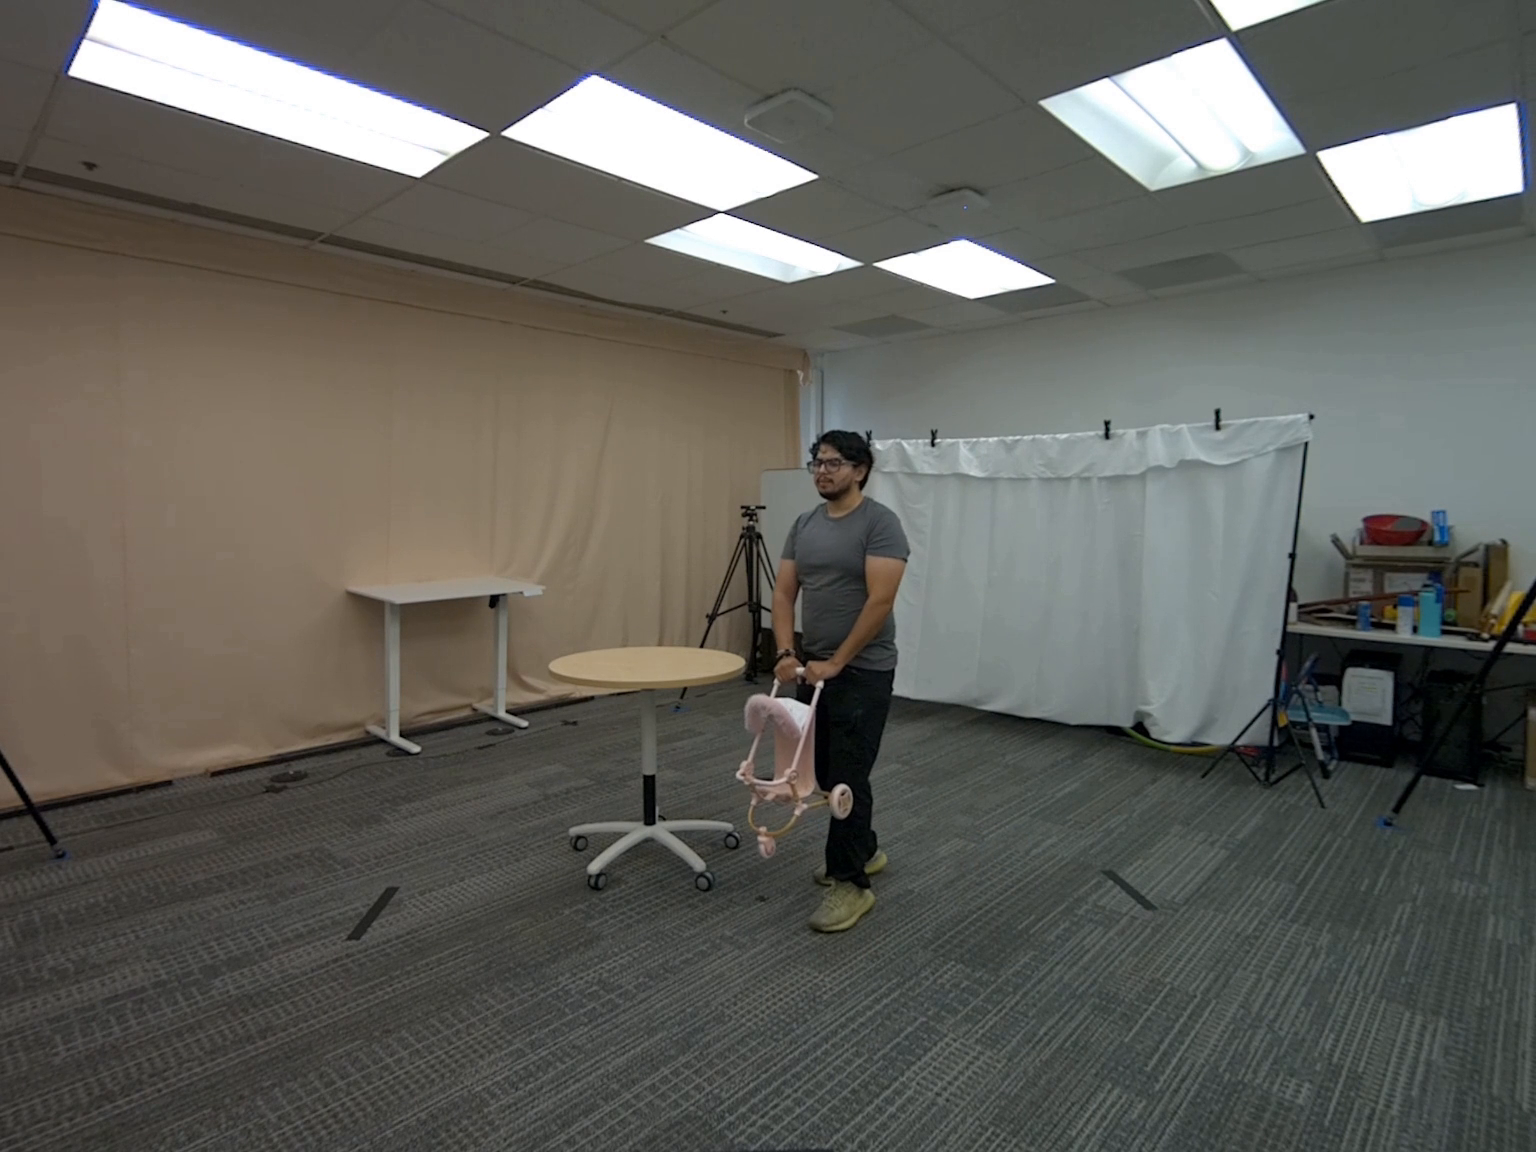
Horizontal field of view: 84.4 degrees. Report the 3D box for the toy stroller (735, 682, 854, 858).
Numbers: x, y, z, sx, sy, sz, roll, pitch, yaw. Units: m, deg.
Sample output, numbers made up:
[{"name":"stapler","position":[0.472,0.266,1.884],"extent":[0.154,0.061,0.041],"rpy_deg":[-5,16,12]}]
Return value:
[{"name":"toy stroller","position":[0.057,0.604,2.721],"extent":[0.332,0.533,0.290],"rpy_deg":[-12,6,-41]}]
